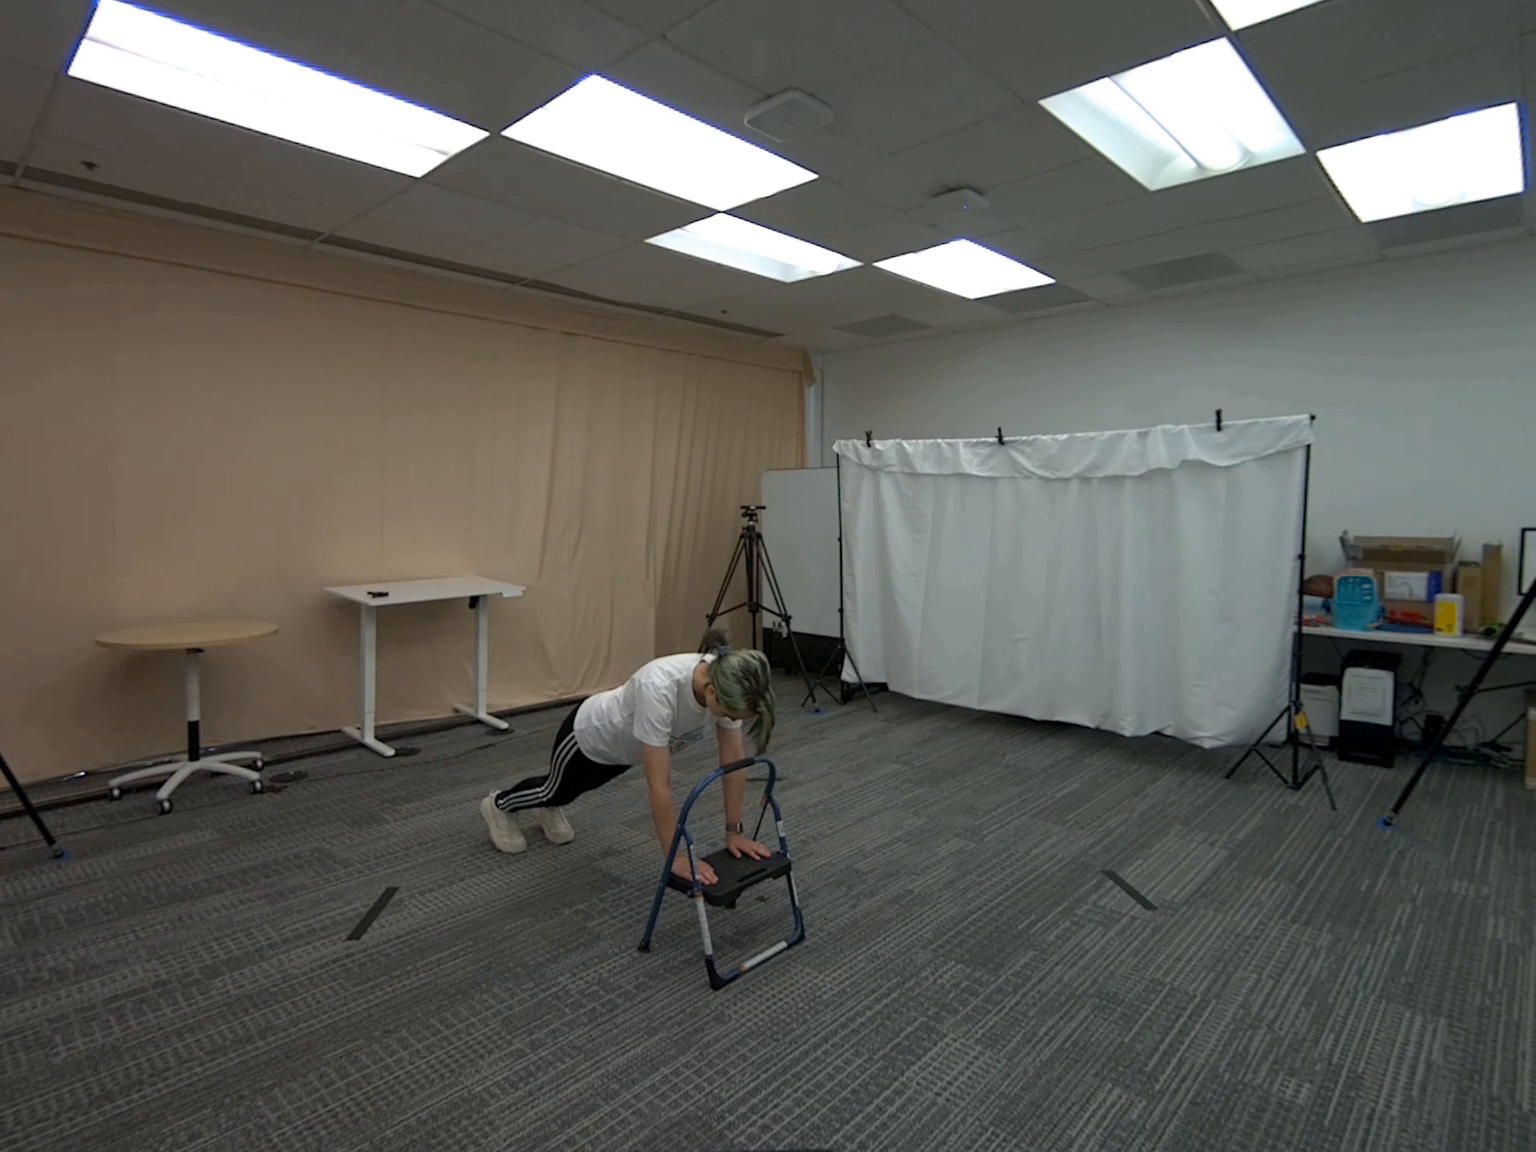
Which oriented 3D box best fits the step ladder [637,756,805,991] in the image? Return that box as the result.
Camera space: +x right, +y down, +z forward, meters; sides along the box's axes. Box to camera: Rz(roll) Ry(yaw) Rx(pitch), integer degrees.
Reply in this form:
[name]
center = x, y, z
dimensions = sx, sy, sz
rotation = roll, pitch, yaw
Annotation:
[step ladder]
center = -0.139, 0.869, 2.661
dimensions = 0.361, 0.605, 0.417
rotation = 3, 4, 42
